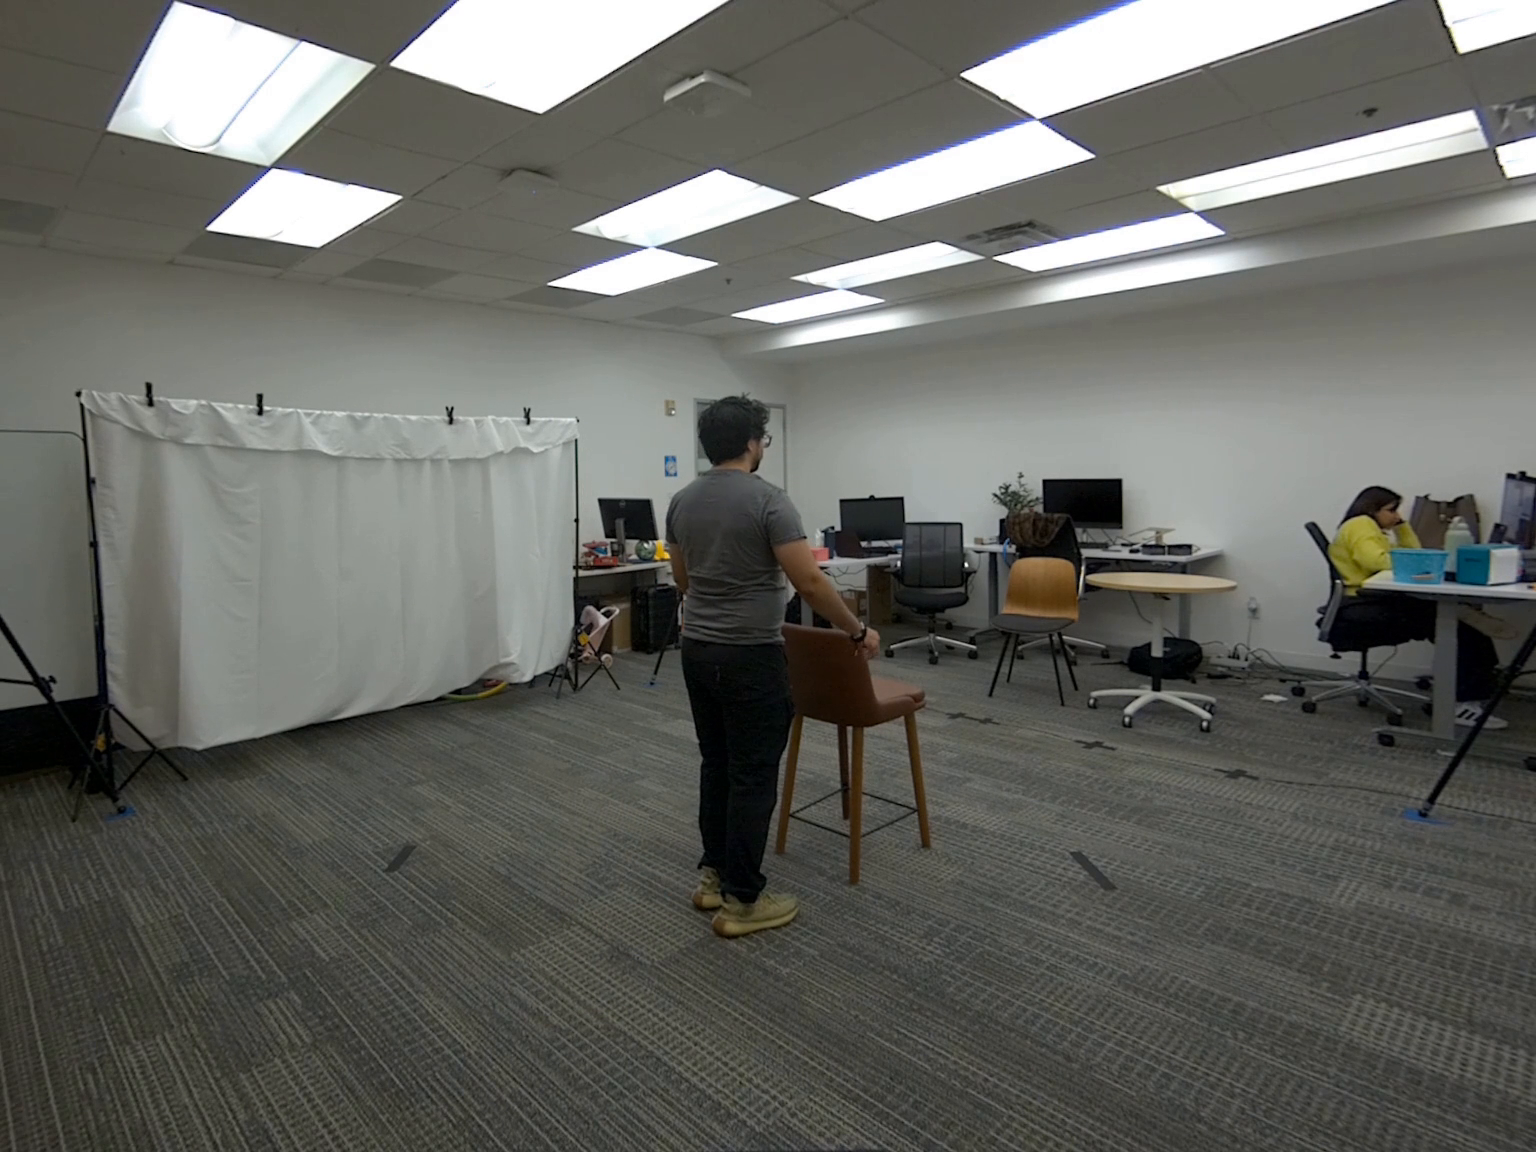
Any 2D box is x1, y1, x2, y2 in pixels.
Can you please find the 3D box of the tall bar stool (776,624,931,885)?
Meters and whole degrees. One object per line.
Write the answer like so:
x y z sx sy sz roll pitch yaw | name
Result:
0.302 0.591 3.176 0.470 0.885 0.456 4 8 45 | tall bar stool
